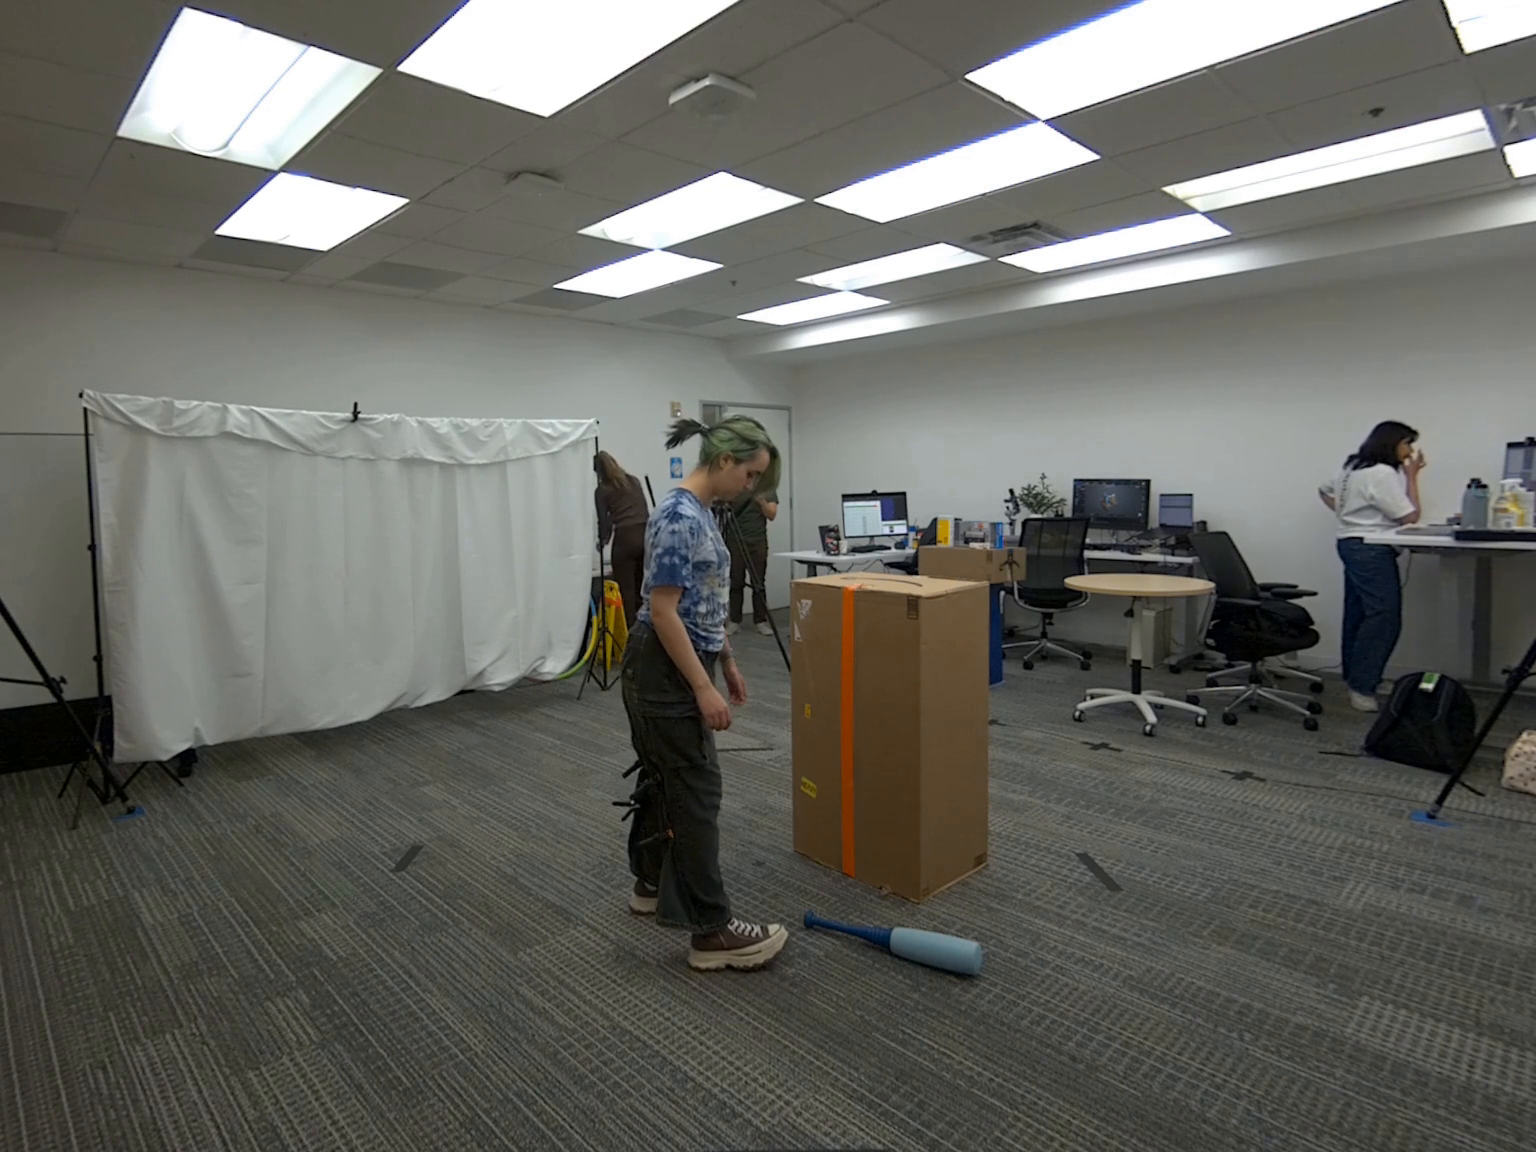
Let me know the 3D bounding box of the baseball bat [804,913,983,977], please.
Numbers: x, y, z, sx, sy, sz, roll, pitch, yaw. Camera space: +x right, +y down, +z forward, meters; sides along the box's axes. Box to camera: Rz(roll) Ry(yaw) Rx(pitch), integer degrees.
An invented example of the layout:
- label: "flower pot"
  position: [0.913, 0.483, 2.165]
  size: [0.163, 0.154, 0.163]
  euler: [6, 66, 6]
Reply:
- label: "baseball bat"
  position: [0.373, 1.087, 2.516]
  size: [0.556, 0.089, 0.087]
  euler: [-4, 3, 31]
